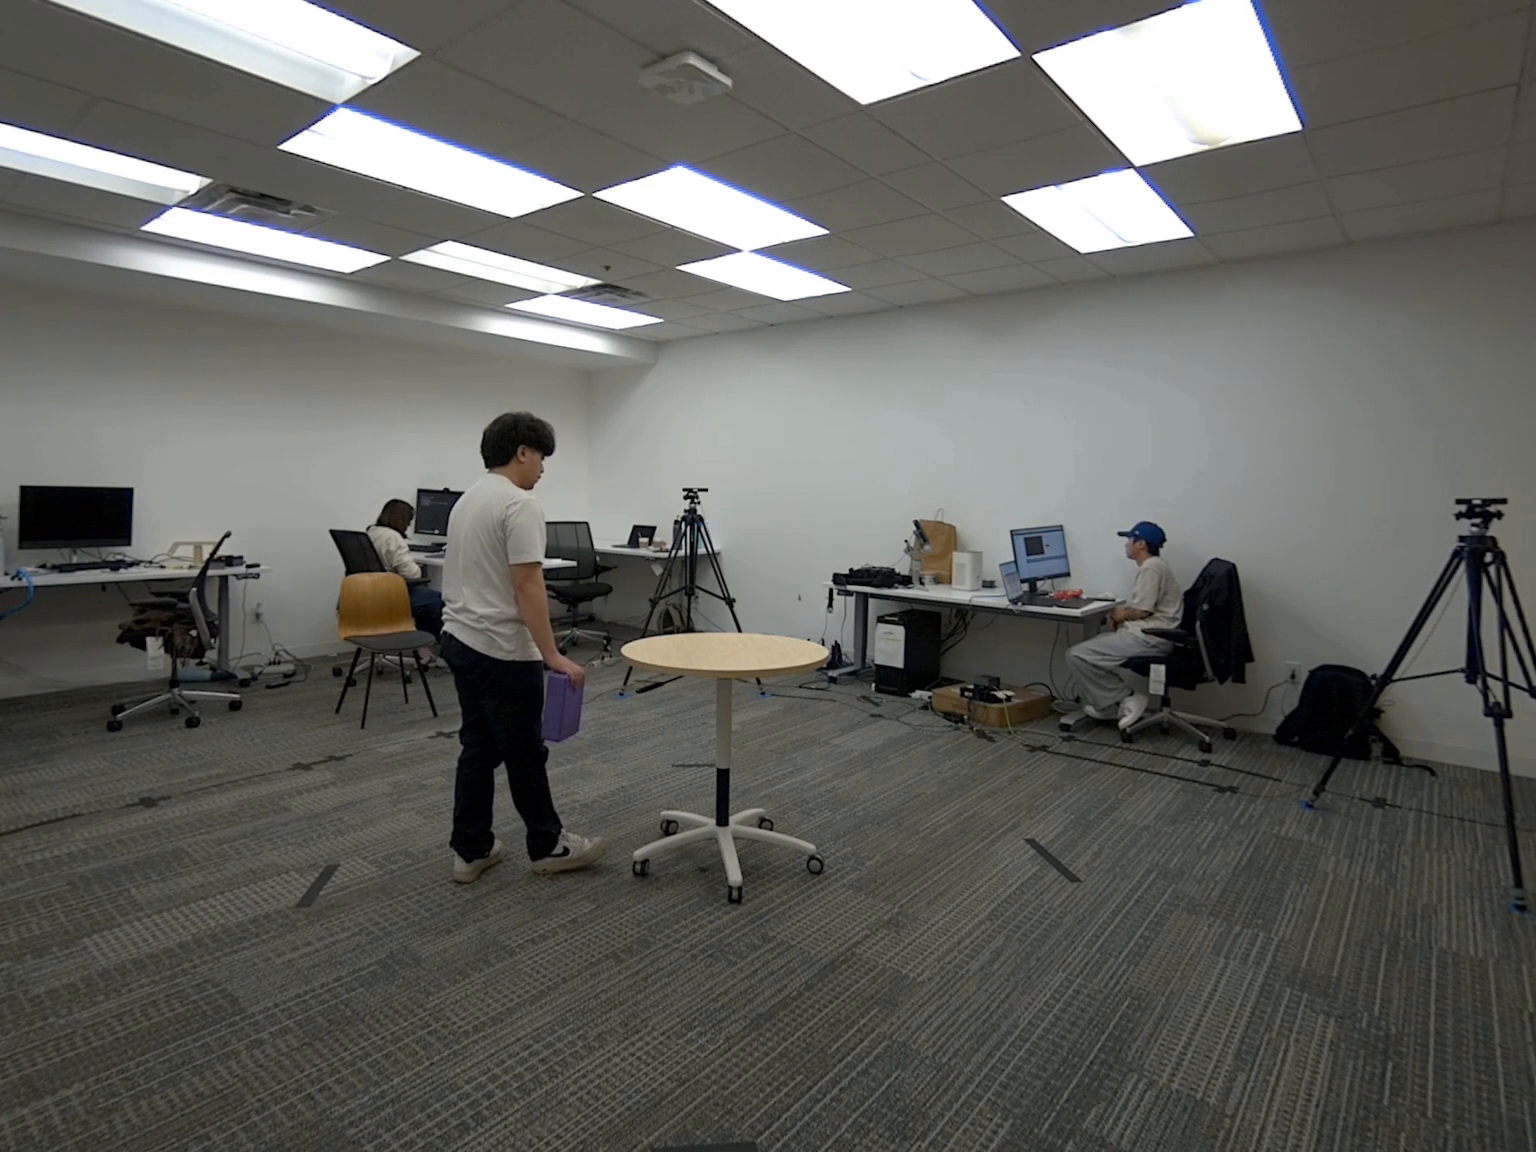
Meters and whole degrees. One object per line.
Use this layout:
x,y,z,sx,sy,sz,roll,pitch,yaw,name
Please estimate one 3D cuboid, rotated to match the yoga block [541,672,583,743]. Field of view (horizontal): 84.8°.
-0.711,0.445,2.938,0.077,0.229,0.148,7,3,8,yoga block
